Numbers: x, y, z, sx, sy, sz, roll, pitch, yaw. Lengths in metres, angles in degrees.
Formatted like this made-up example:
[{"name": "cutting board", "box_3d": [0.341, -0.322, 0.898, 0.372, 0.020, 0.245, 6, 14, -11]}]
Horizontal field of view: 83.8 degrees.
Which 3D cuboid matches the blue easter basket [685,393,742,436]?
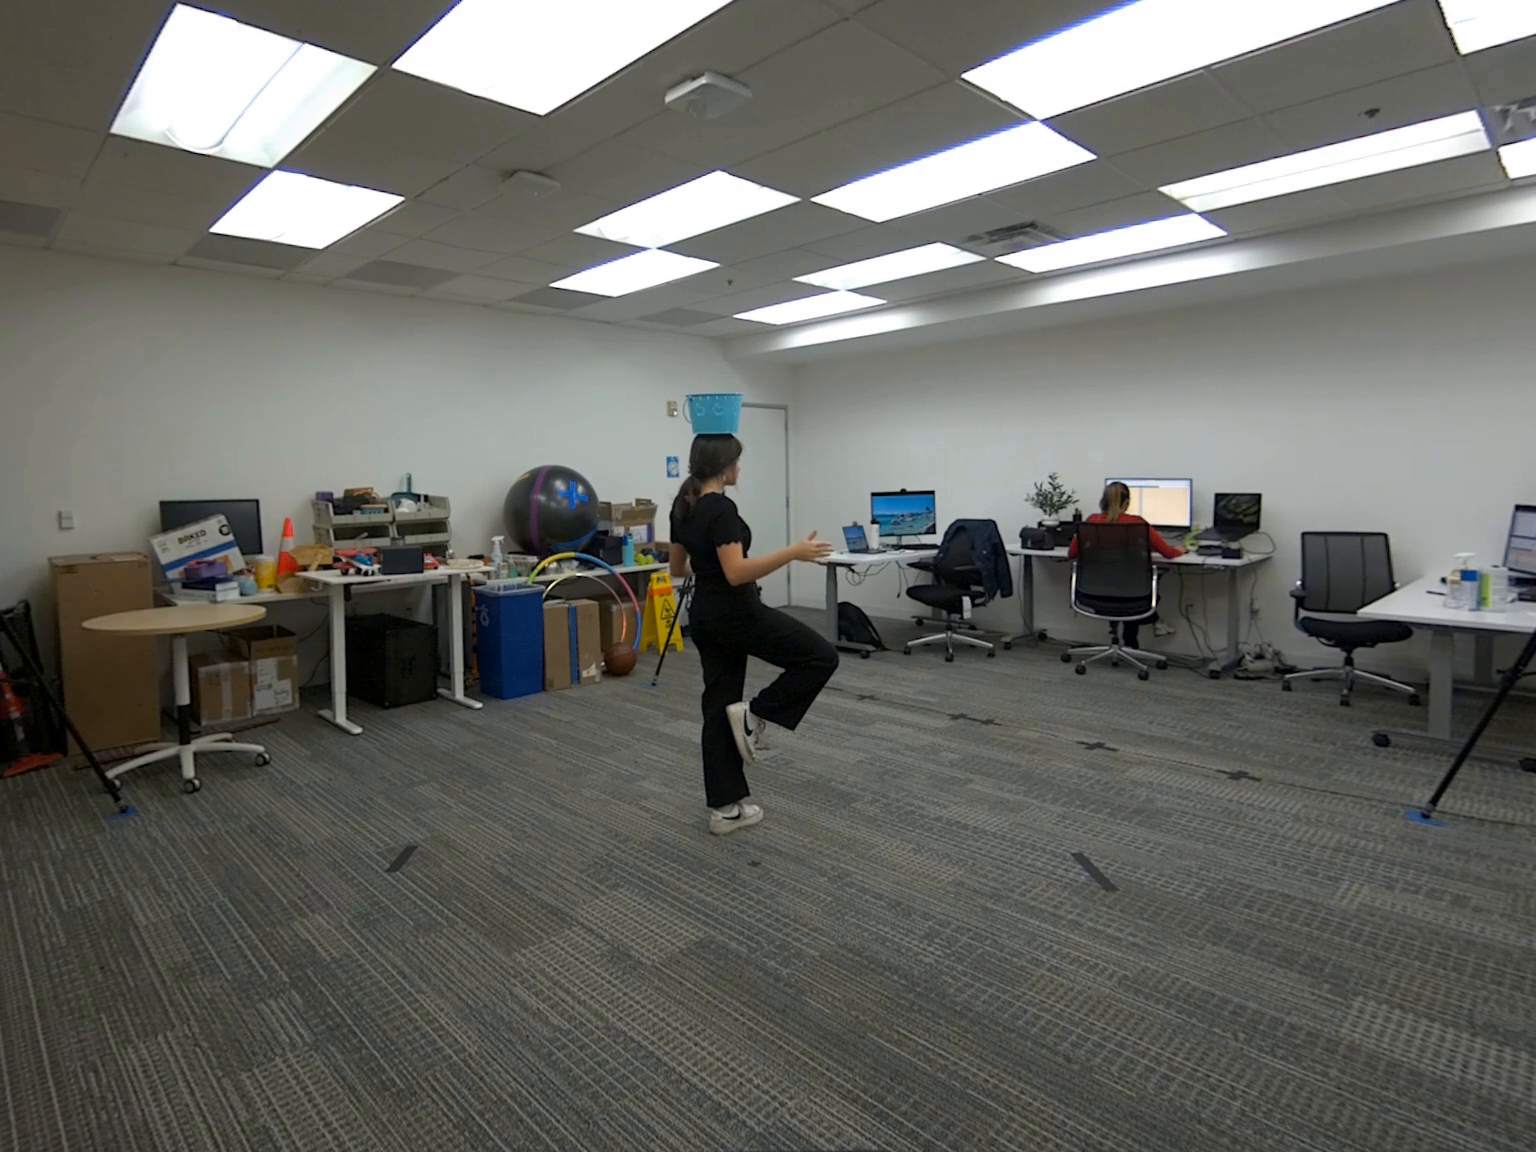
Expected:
[{"name": "blue easter basket", "box_3d": [-0.216, -0.641, 3.366, 0.243, 0.155, 0.245, 0, 8, -2]}]
